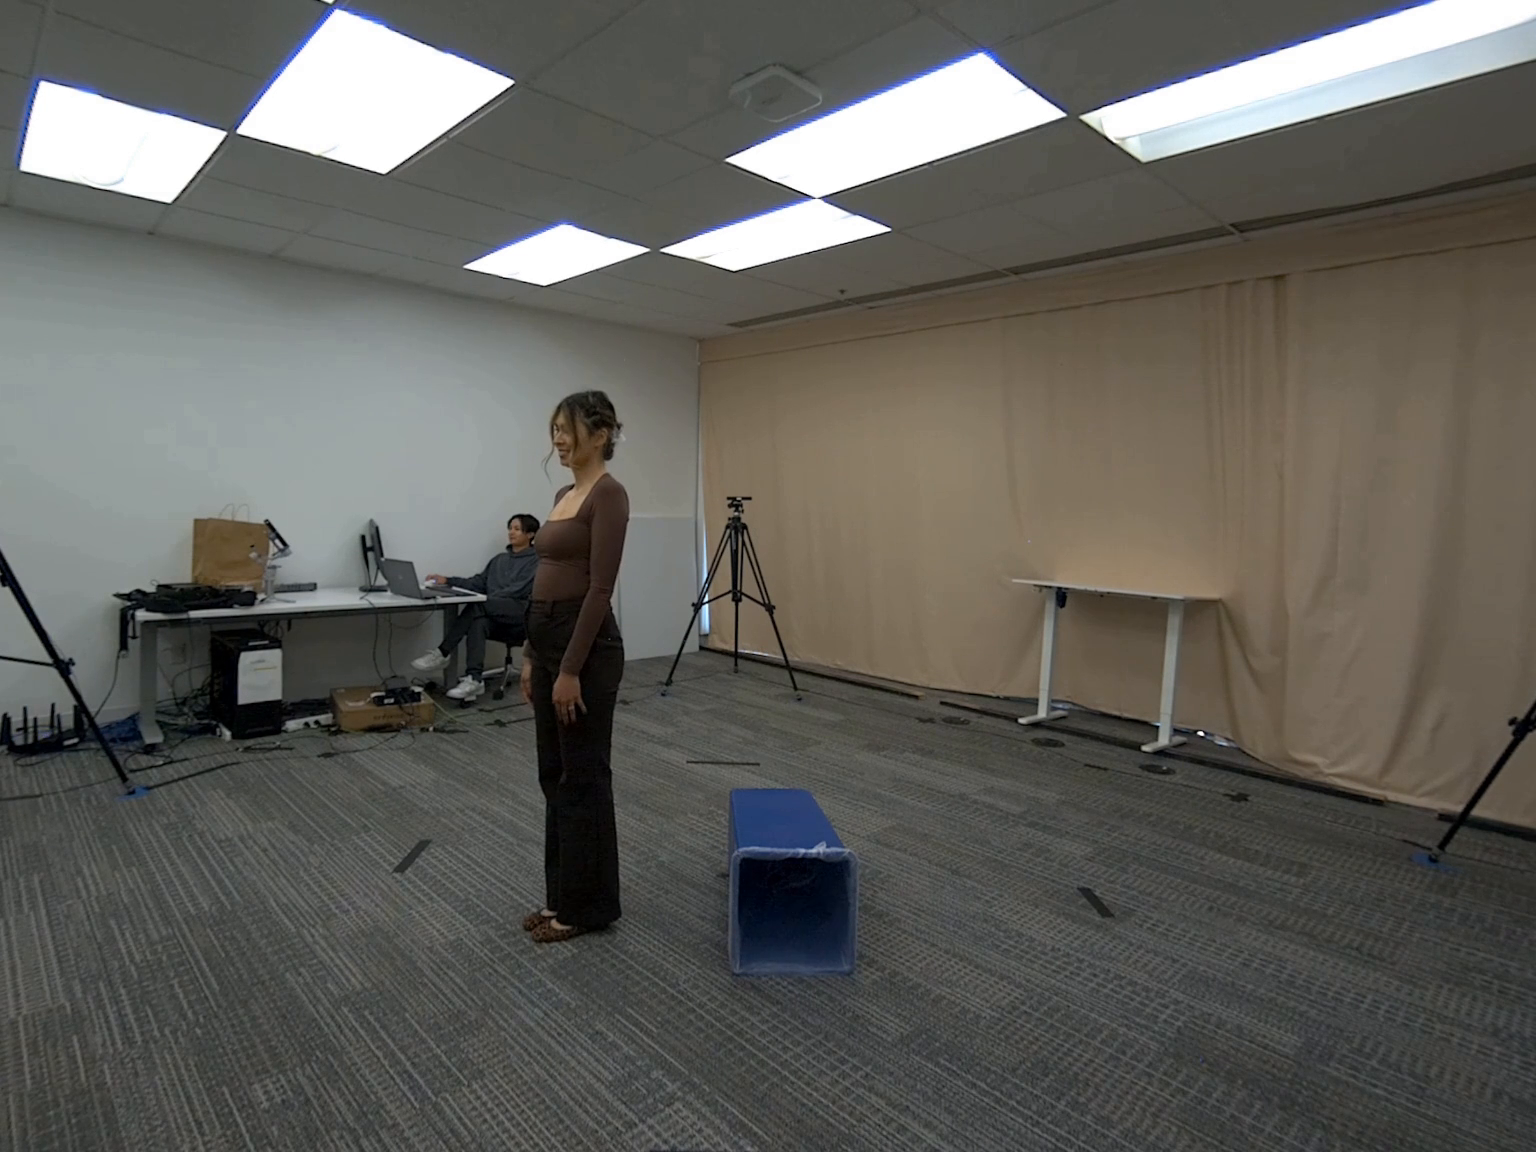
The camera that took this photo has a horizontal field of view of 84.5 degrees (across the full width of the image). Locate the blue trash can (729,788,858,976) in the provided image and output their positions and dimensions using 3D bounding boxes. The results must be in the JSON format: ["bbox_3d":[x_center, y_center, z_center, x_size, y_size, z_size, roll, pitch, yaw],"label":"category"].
[{"bbox_3d":[0.032,0.976,2.813,0.372,0.378,0.718,0,2,-7],"label":"blue trash can"}]
